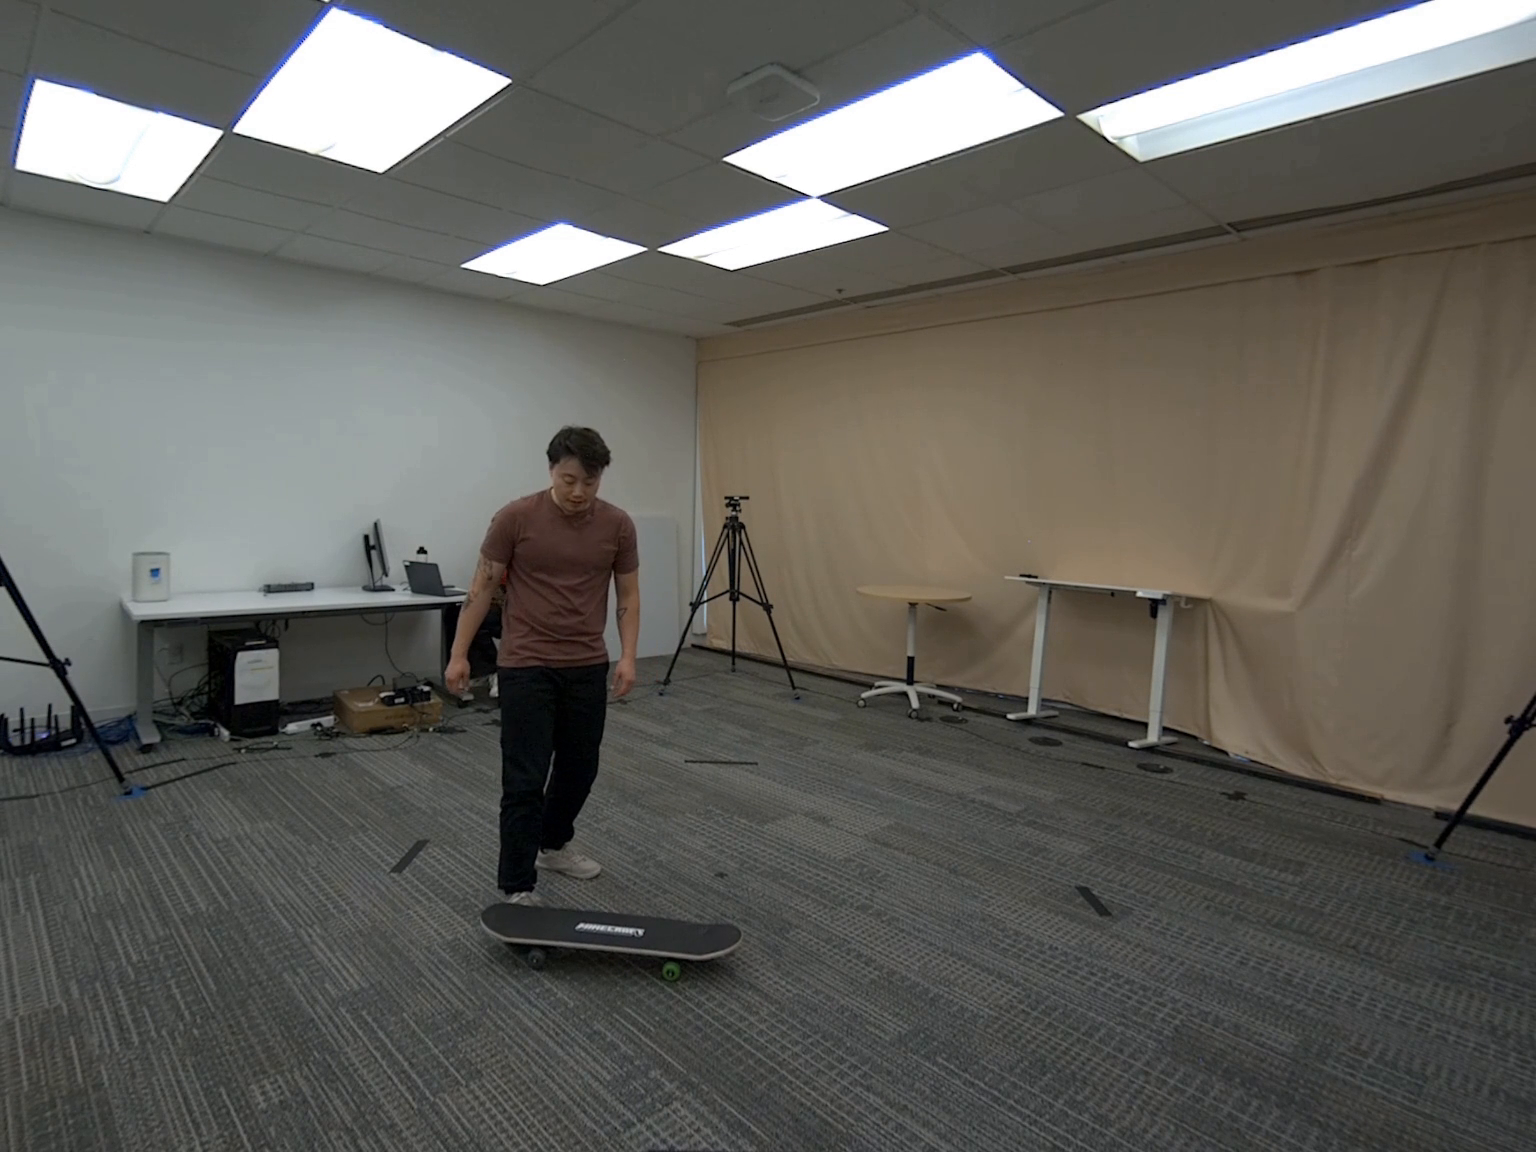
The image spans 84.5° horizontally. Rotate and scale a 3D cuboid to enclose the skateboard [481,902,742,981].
[{"bbox_3d":[-0.477,1.090,2.504,0.789,0.110,0.193,3,4,5],"label":"skateboard"}]
